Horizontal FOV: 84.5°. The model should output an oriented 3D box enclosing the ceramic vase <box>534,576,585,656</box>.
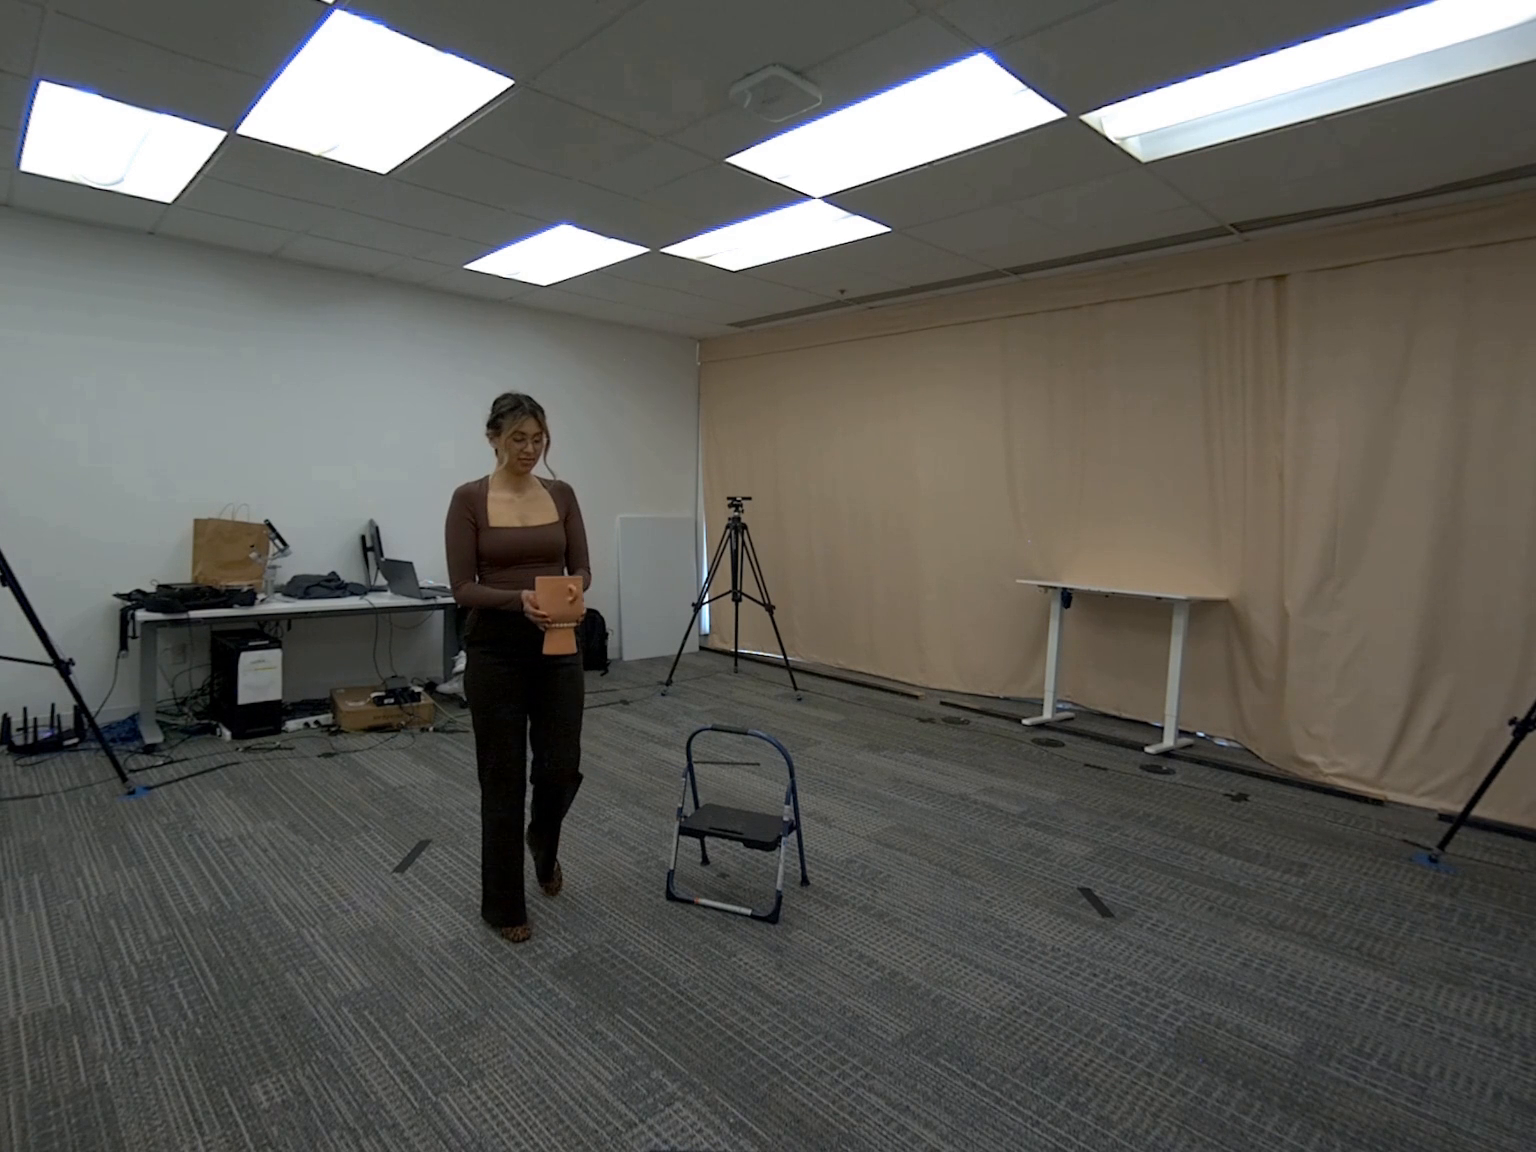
[{"bbox_3d":[-0.610,0.117,2.414,0.134,0.220,0.159,-2,0,-4],"label":"ceramic vase"}]
